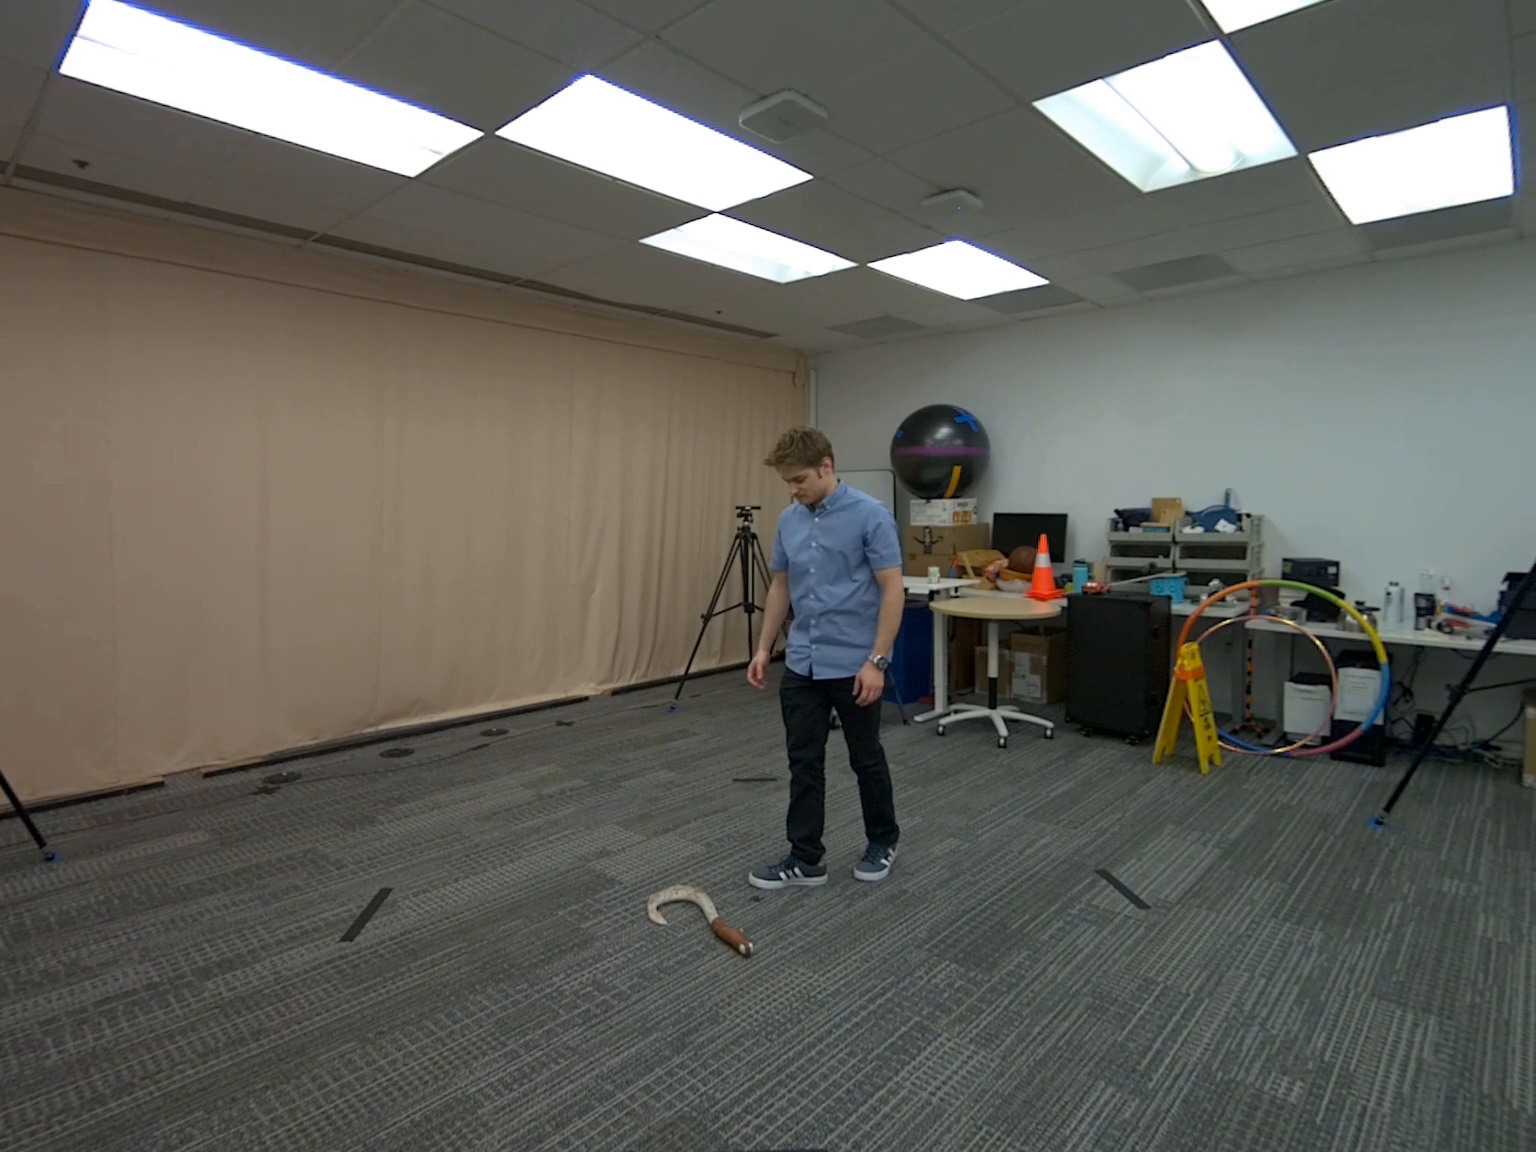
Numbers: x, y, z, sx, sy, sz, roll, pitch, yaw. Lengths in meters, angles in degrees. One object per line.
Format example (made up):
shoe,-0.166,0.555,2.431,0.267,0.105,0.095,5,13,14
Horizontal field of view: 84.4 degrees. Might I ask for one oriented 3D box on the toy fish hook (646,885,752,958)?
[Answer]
toy fish hook,-0.235,1.150,2.778,0.219,0.048,0.522,-13,10,-31
